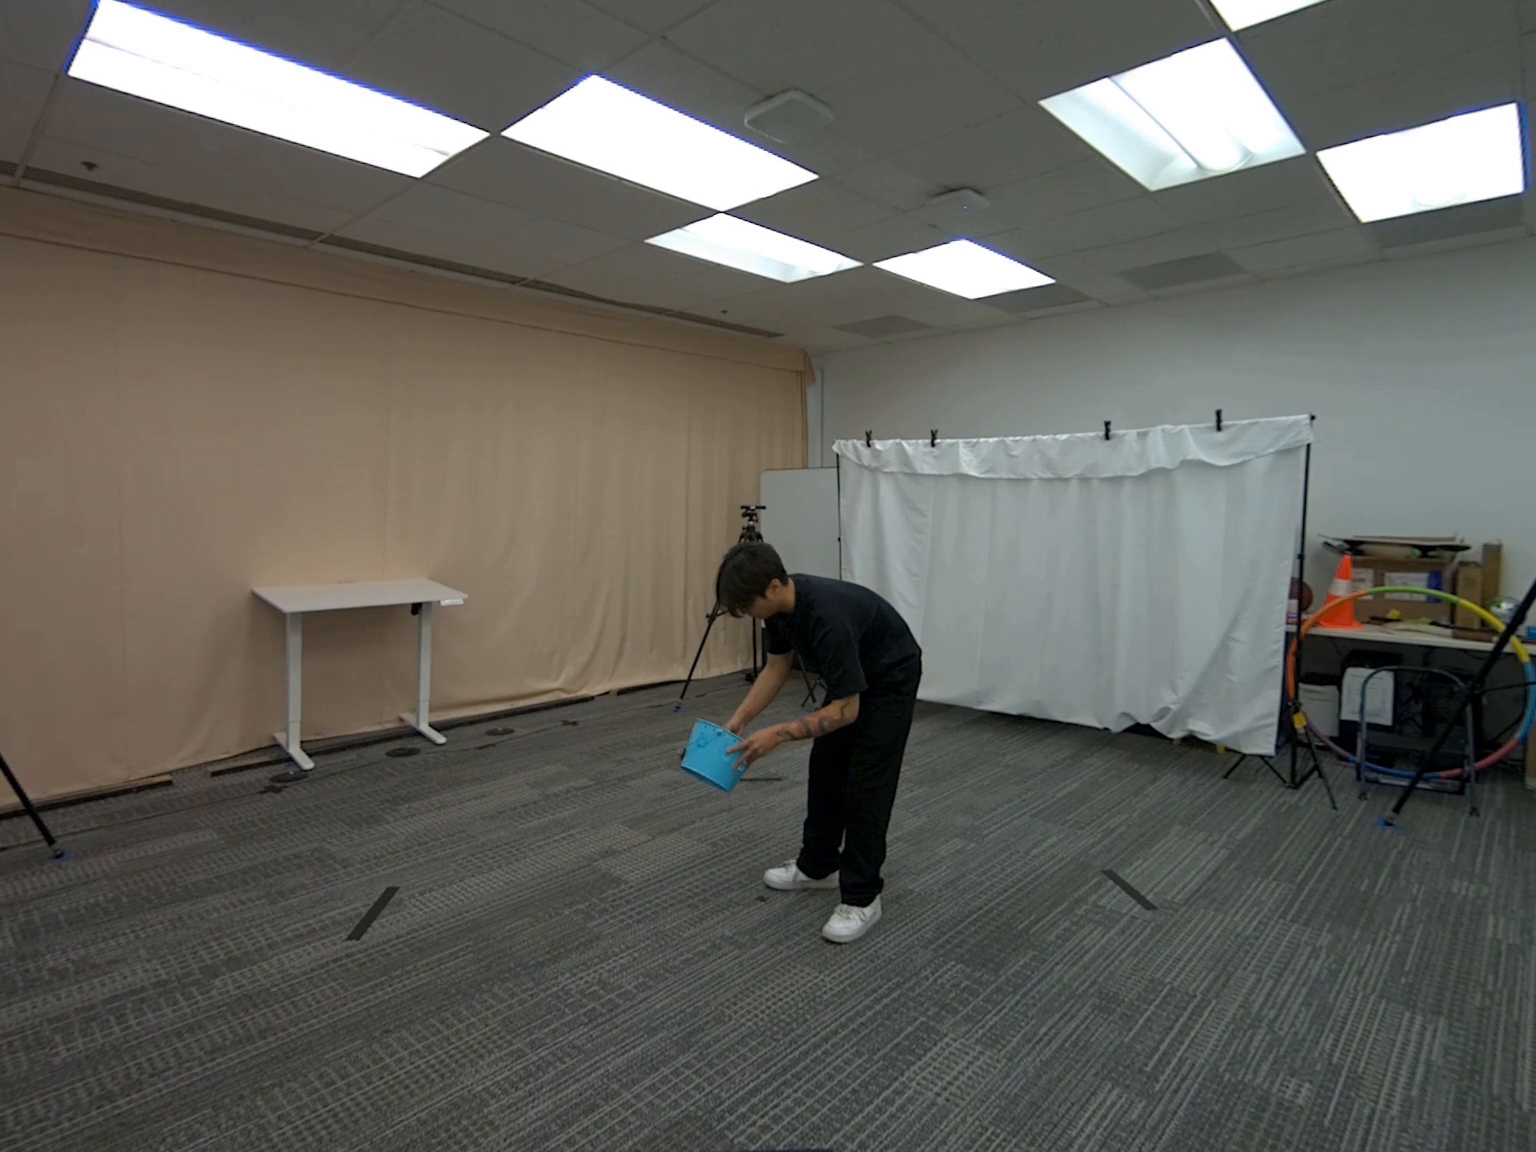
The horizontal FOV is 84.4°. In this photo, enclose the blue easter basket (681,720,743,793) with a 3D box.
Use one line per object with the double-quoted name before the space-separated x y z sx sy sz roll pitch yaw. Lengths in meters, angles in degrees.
"blue easter basket" -0.164 0.592 2.703 0.246 0.156 0.241 25 -19 7
